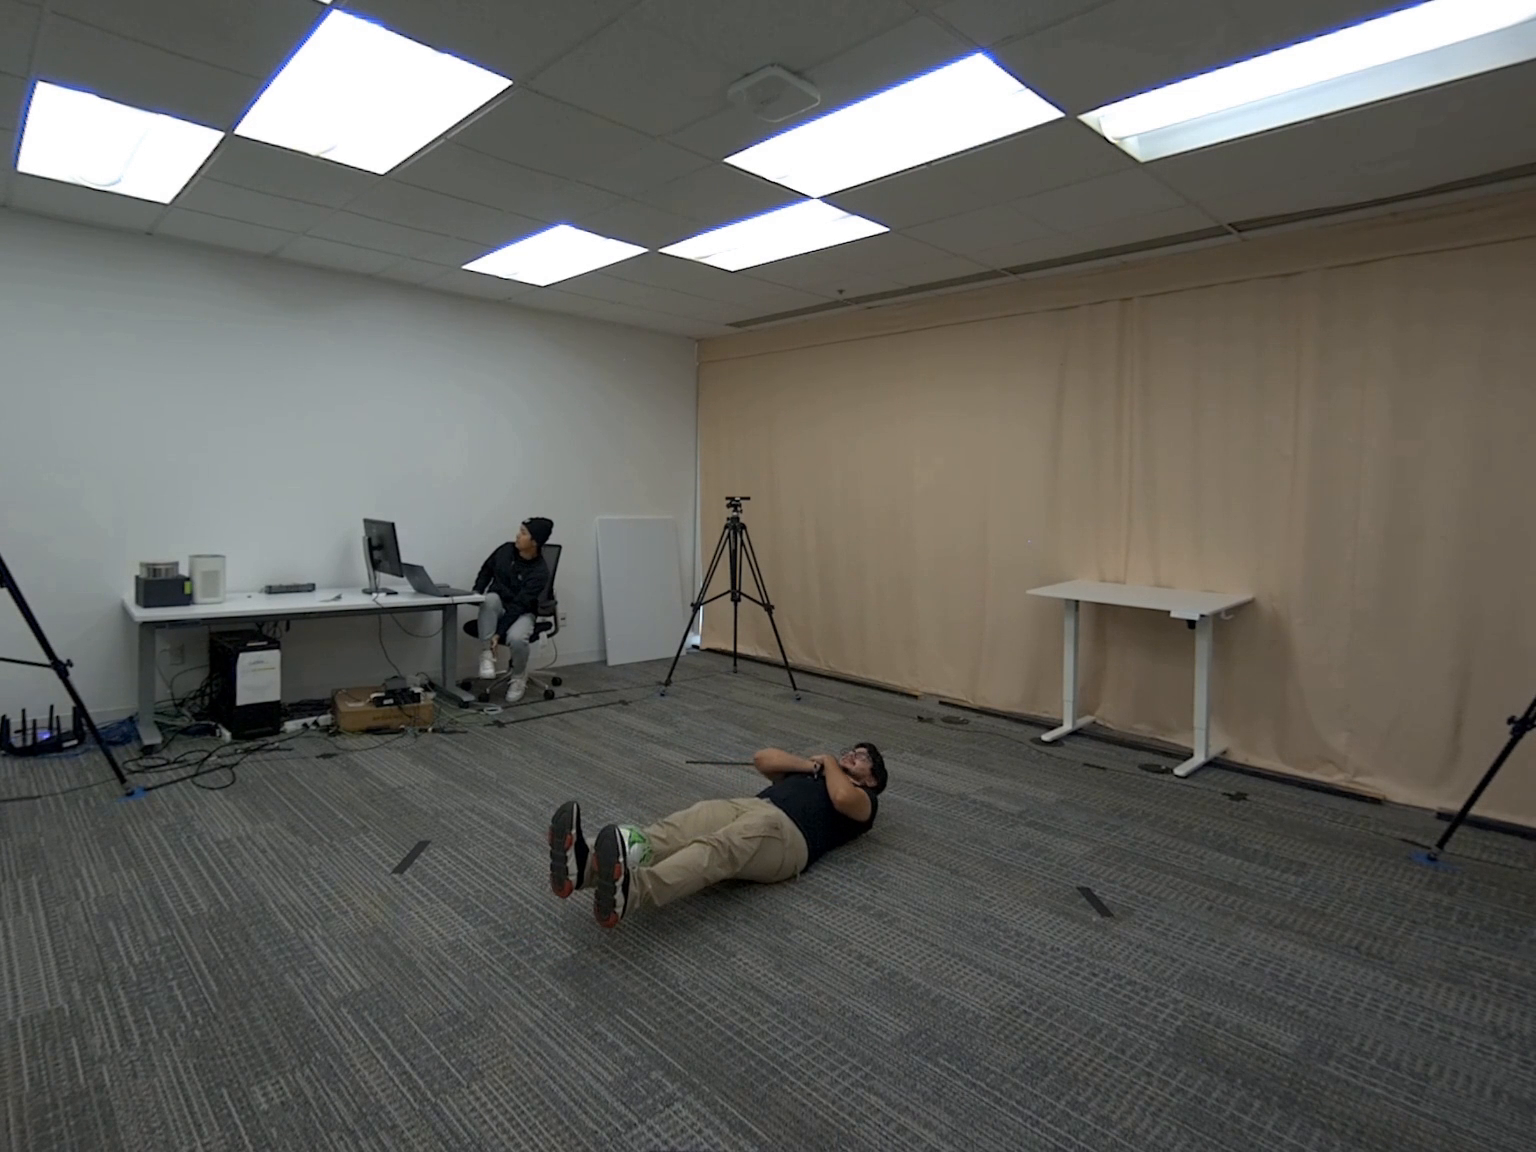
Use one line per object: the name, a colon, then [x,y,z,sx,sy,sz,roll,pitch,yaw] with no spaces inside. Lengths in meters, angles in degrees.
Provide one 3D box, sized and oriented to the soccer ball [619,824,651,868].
soccer ball: [-0.471,0.901,2.695,0.187,0.187,0.188,1,5,-1]
